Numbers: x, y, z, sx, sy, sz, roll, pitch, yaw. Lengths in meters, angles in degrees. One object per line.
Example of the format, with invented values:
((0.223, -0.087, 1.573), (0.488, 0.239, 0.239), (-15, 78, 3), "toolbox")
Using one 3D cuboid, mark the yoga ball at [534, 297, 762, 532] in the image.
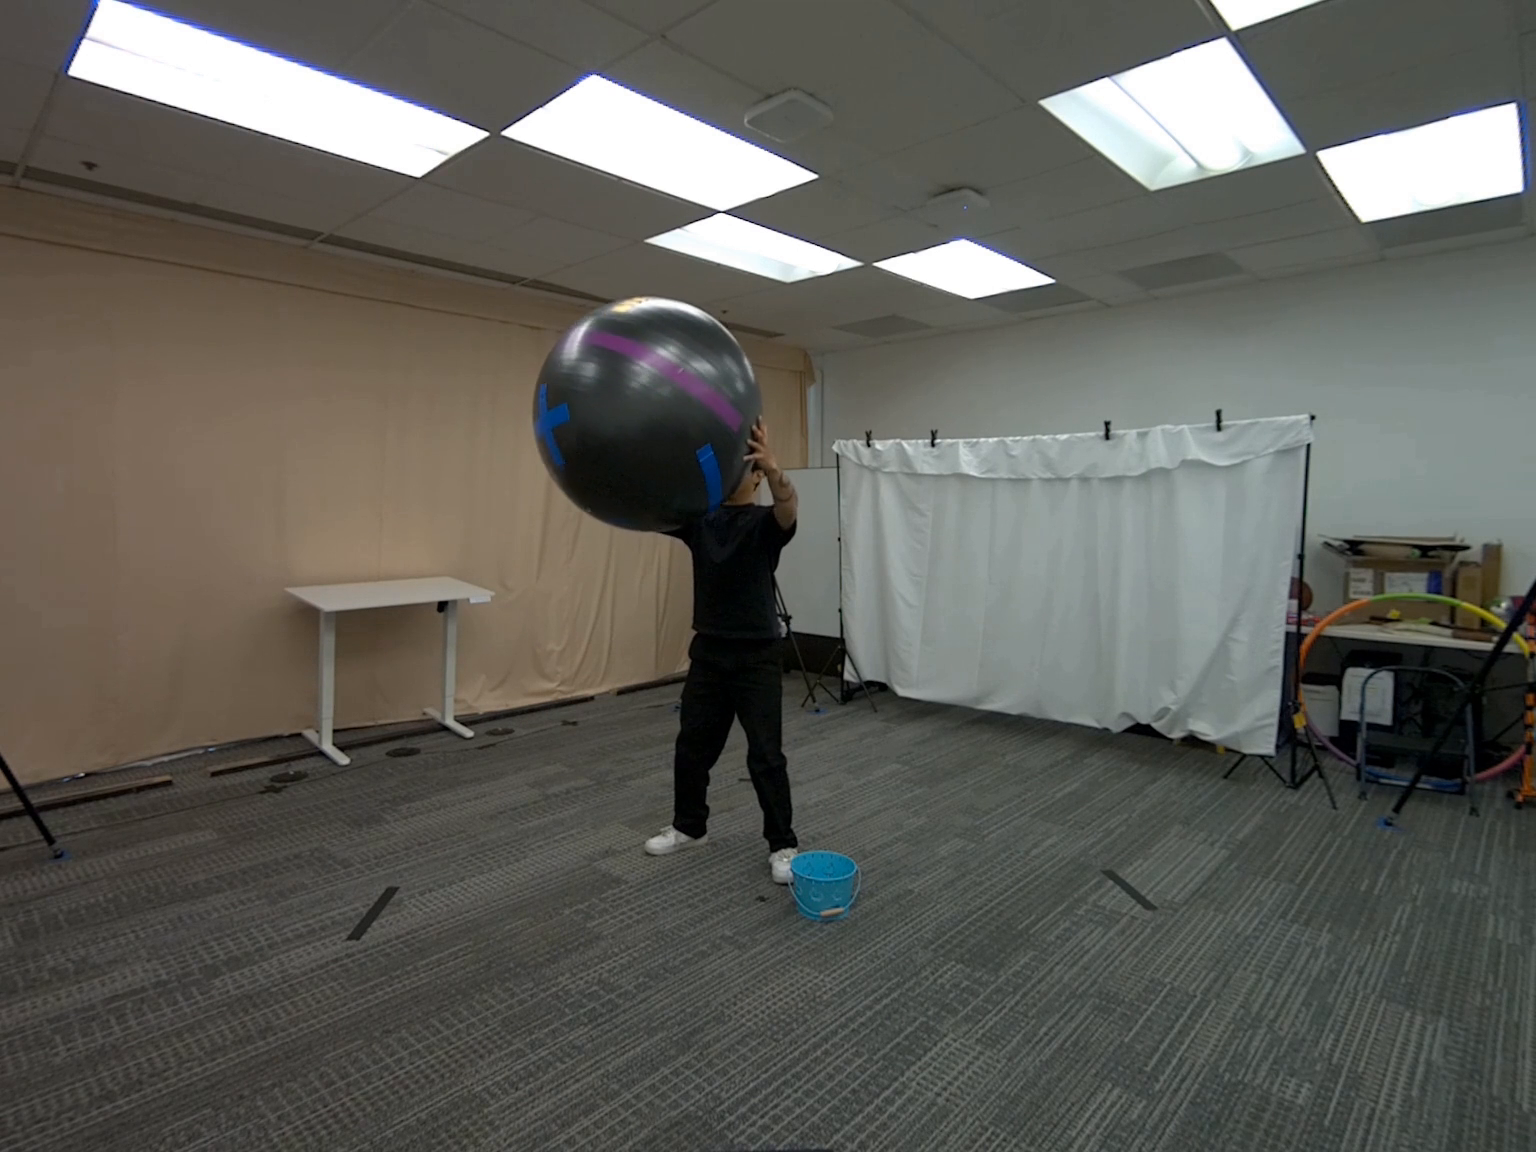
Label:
((-0.396, -0.521, 2.788), (0.757, 0.756, 0.760), (0, 4, -2), "yoga ball")
